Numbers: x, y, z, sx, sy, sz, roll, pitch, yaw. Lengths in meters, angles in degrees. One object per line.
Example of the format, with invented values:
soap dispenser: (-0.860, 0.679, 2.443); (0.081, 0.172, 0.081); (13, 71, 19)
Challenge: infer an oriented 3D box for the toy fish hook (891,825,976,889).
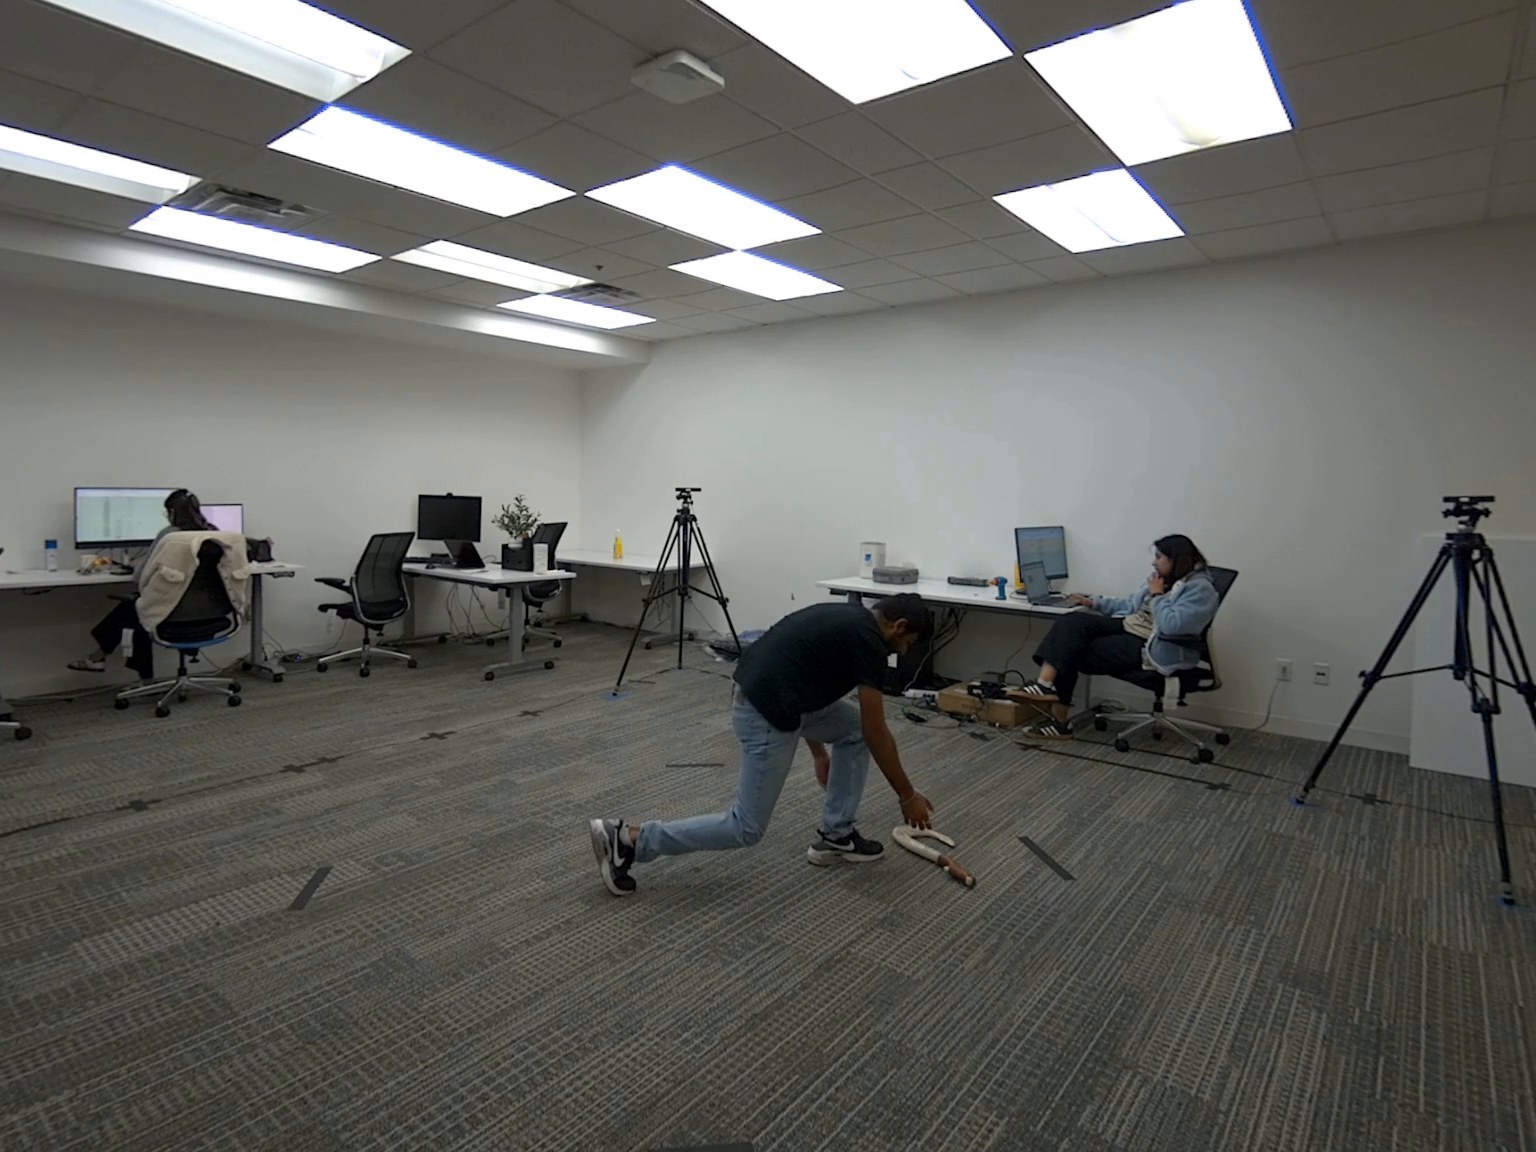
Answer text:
toy fish hook: (0.663, 1.050, 3.245); (0.220, 0.048, 0.520); (-3, 7, -23)
